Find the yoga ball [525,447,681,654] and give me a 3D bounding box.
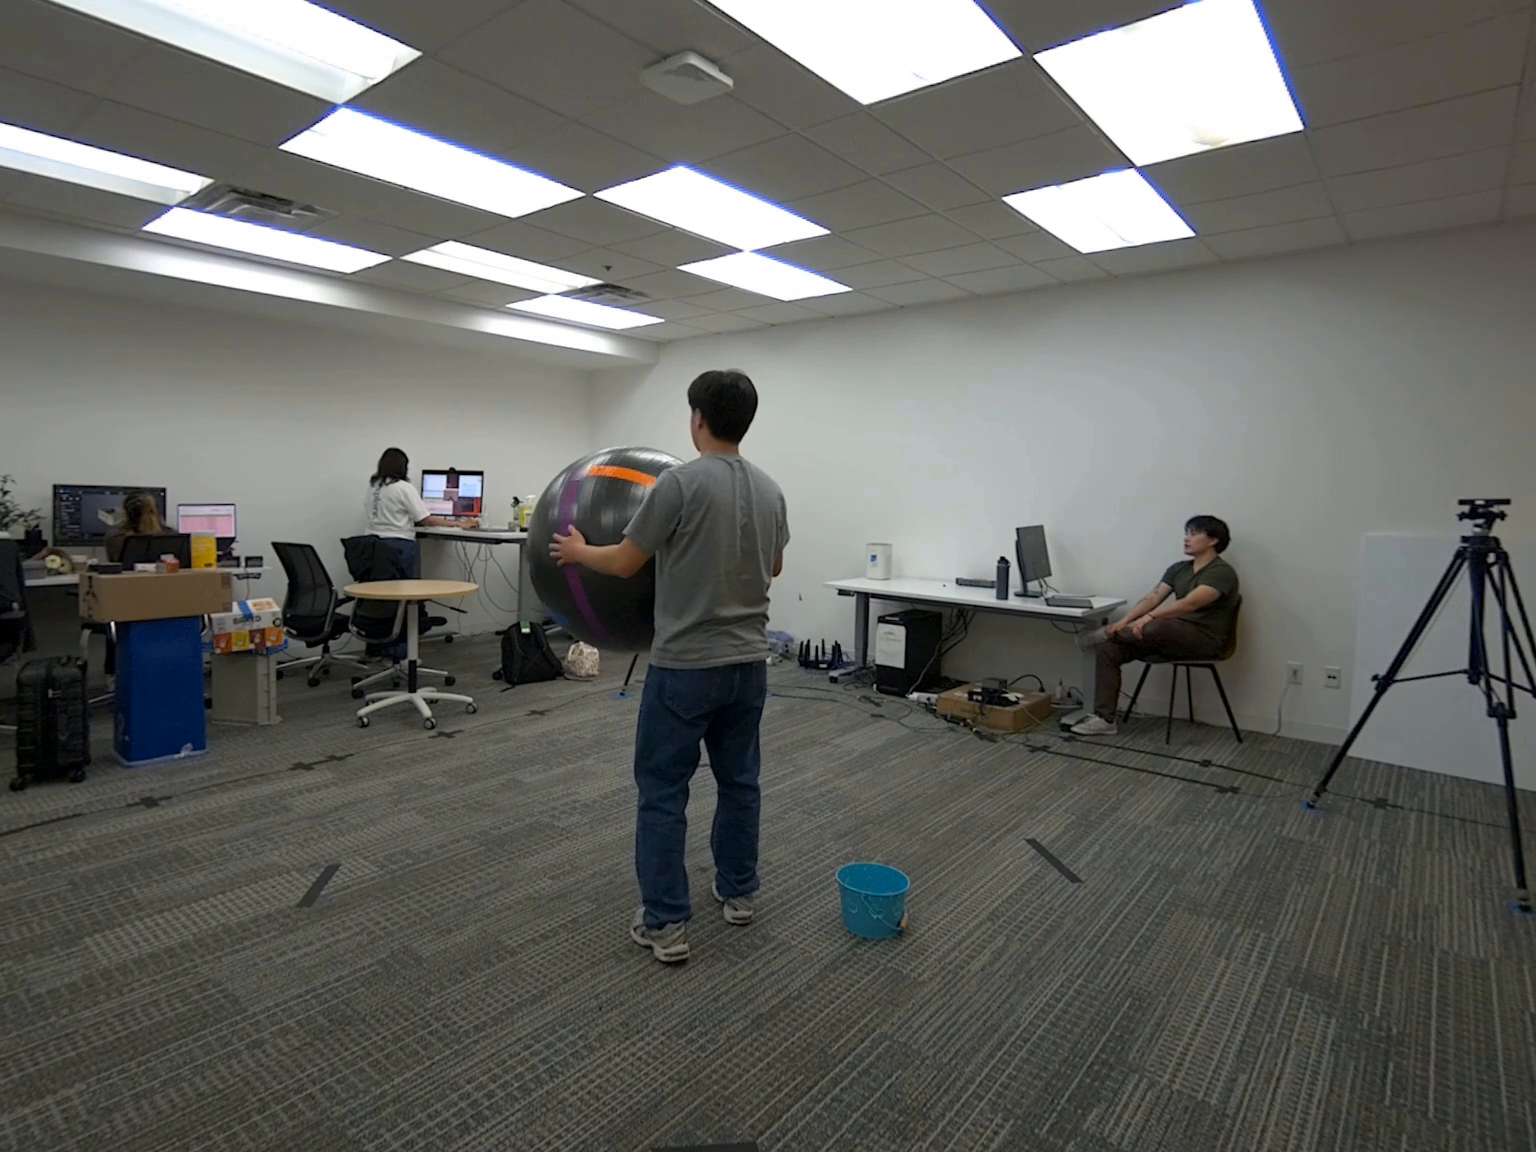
[{"bbox_3d":[-0.516,-0.076,3.124,0.757,0.756,0.761,1,4,-2],"label":"yoga ball"}]
